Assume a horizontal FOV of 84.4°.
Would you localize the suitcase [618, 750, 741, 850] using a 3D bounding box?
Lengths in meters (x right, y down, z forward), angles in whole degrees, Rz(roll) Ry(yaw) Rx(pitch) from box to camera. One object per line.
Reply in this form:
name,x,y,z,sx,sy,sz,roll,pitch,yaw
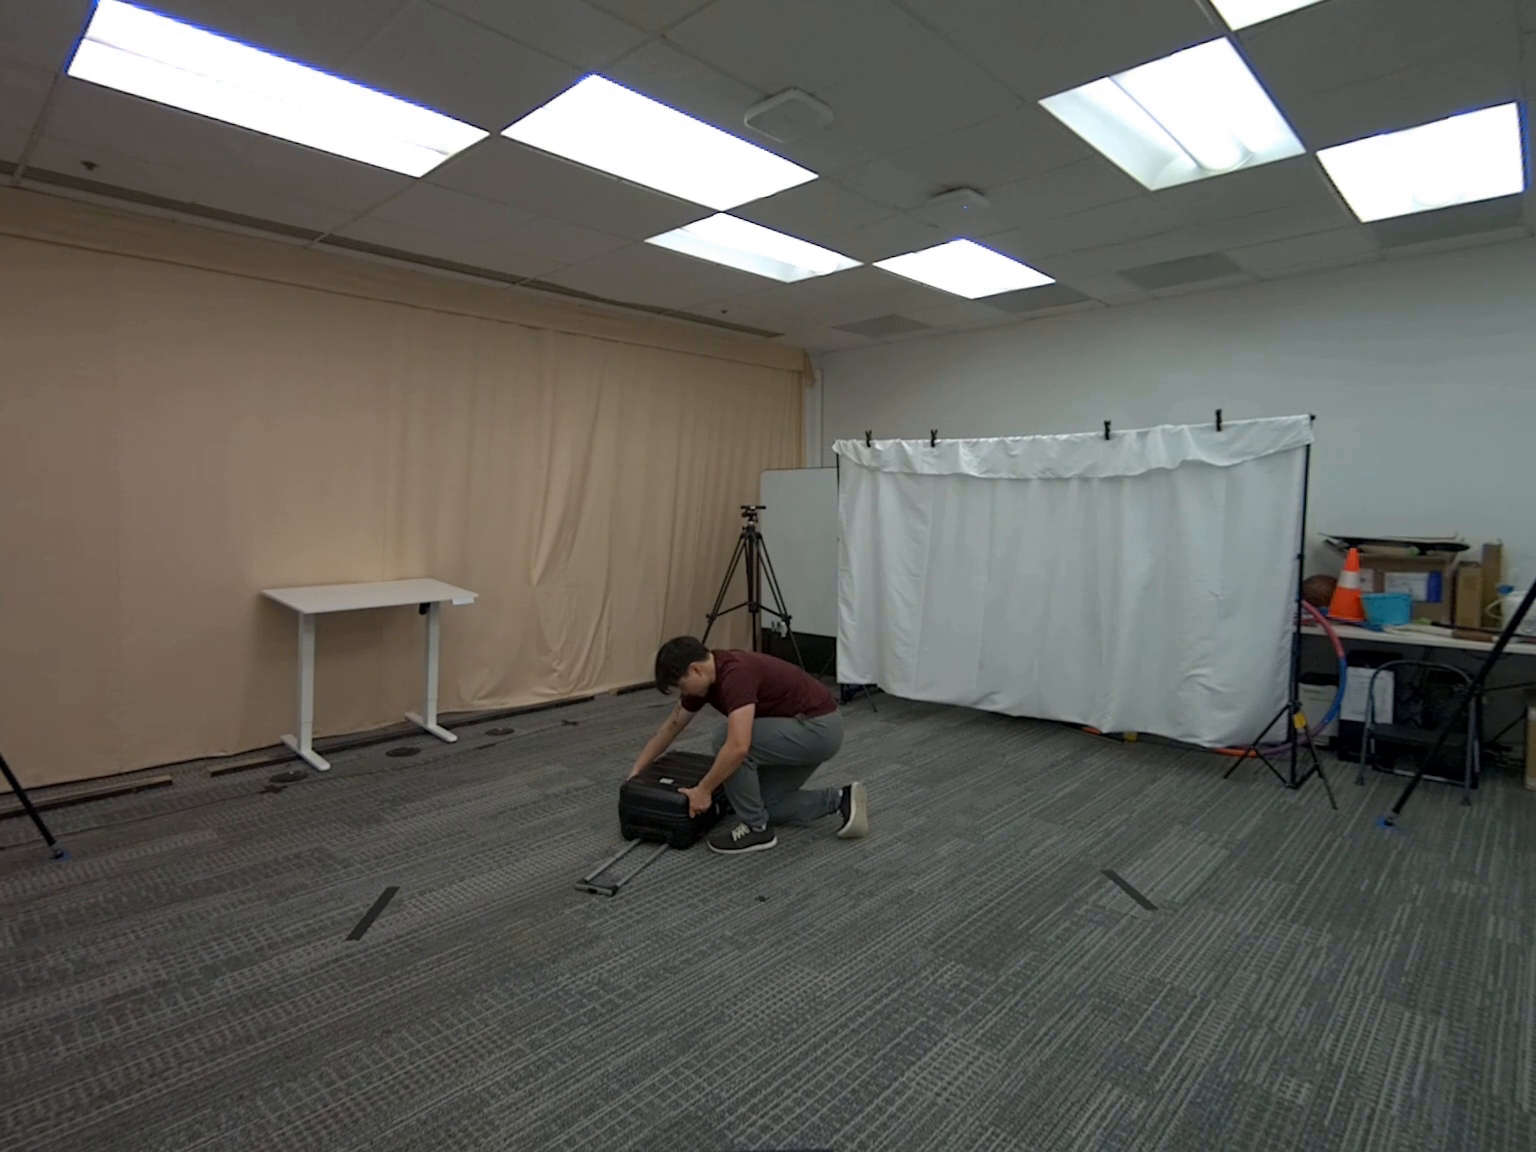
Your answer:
suitcase,-0.460,0.985,3.484,0.393,0.256,0.959,4,6,21
